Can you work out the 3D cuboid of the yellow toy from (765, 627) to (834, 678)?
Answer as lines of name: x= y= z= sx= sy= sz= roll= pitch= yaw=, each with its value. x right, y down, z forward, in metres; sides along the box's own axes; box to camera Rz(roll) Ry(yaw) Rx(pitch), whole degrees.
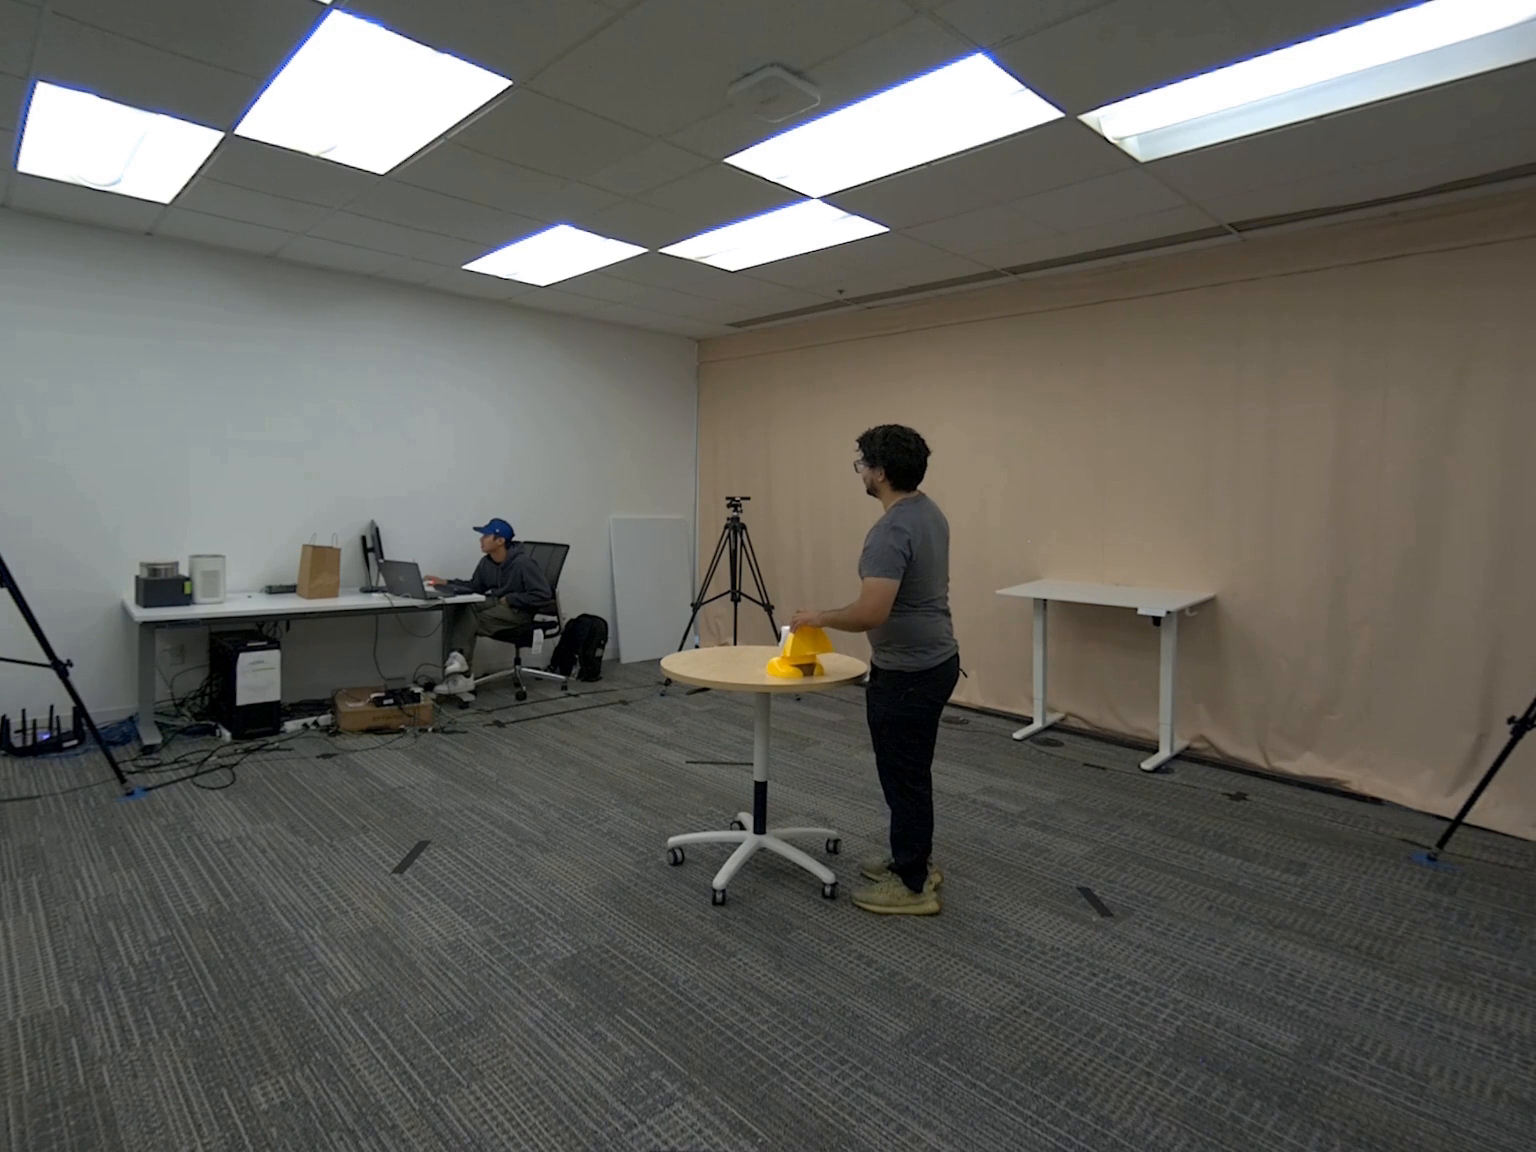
yellow toy: x=0.096 y=0.224 z=2.950 sx=0.200 sy=0.230 sz=0.198 roll=-2 pitch=6 yaw=-33
